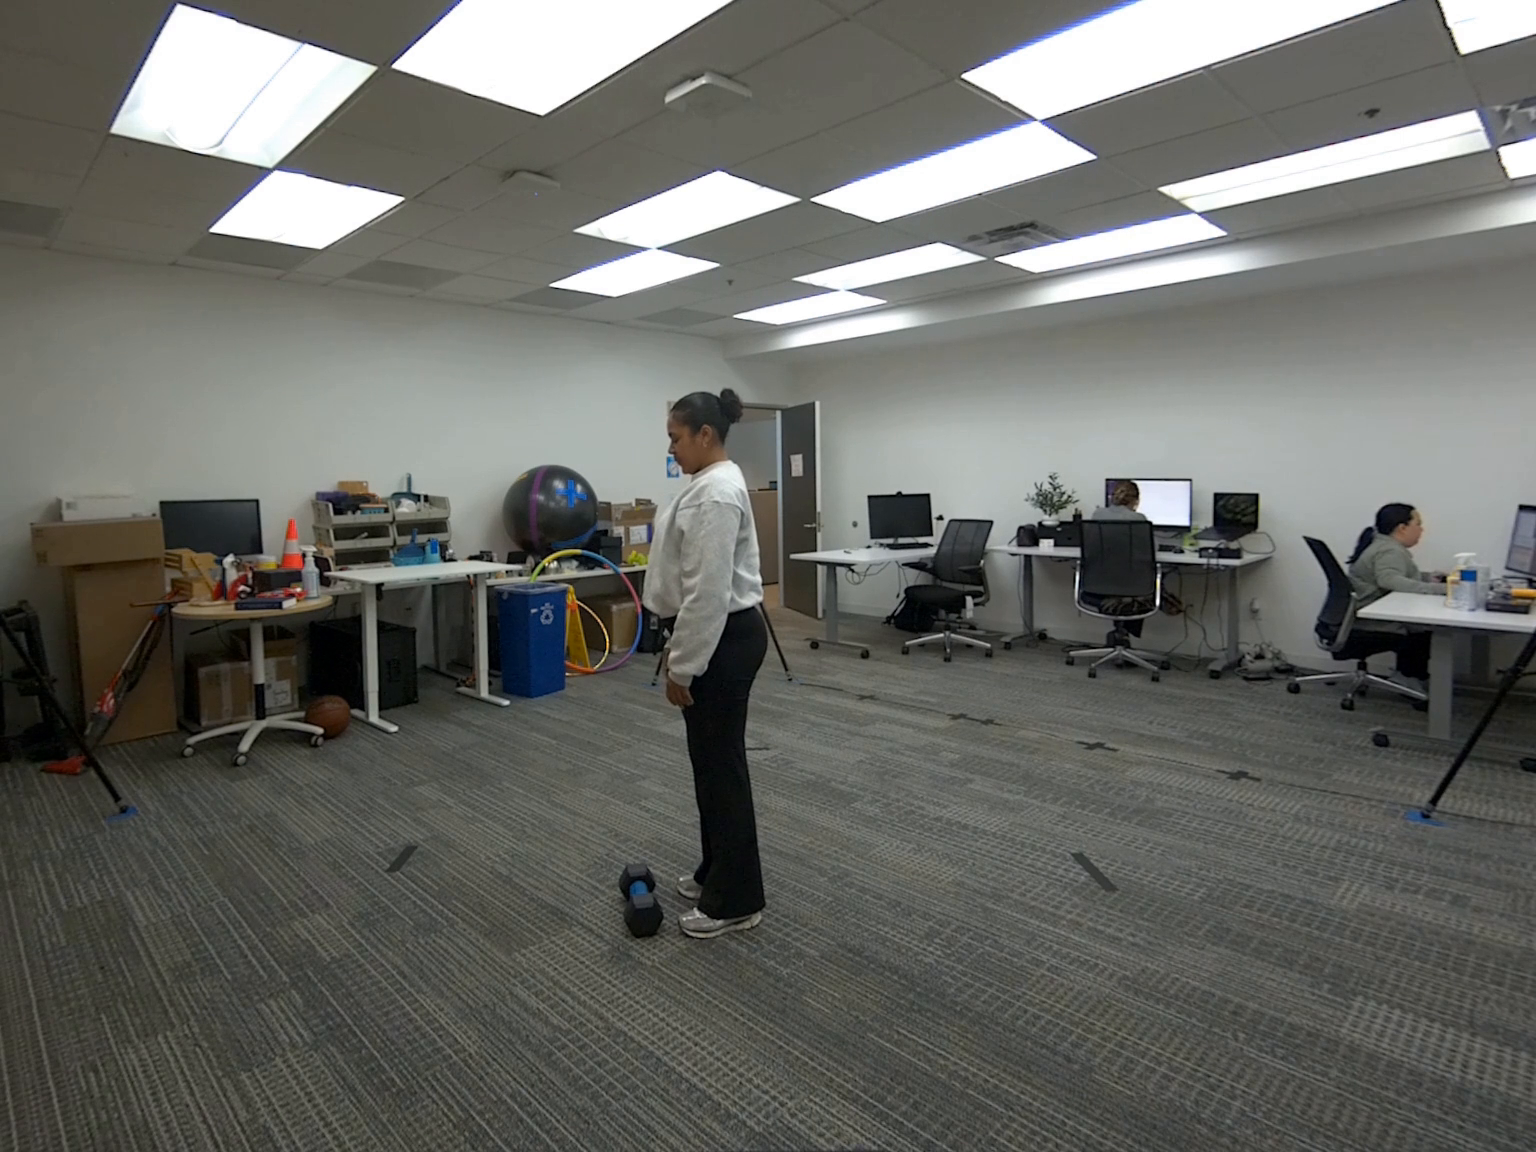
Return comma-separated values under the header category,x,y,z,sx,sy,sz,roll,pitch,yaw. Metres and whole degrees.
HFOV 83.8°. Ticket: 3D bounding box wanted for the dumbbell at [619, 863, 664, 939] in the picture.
category,x,y,z,sx,sy,sz,roll,pitch,yaw
dumbbell,-0.405,1.037,2.748,0.122,0.108,0.298,-3,7,-12
